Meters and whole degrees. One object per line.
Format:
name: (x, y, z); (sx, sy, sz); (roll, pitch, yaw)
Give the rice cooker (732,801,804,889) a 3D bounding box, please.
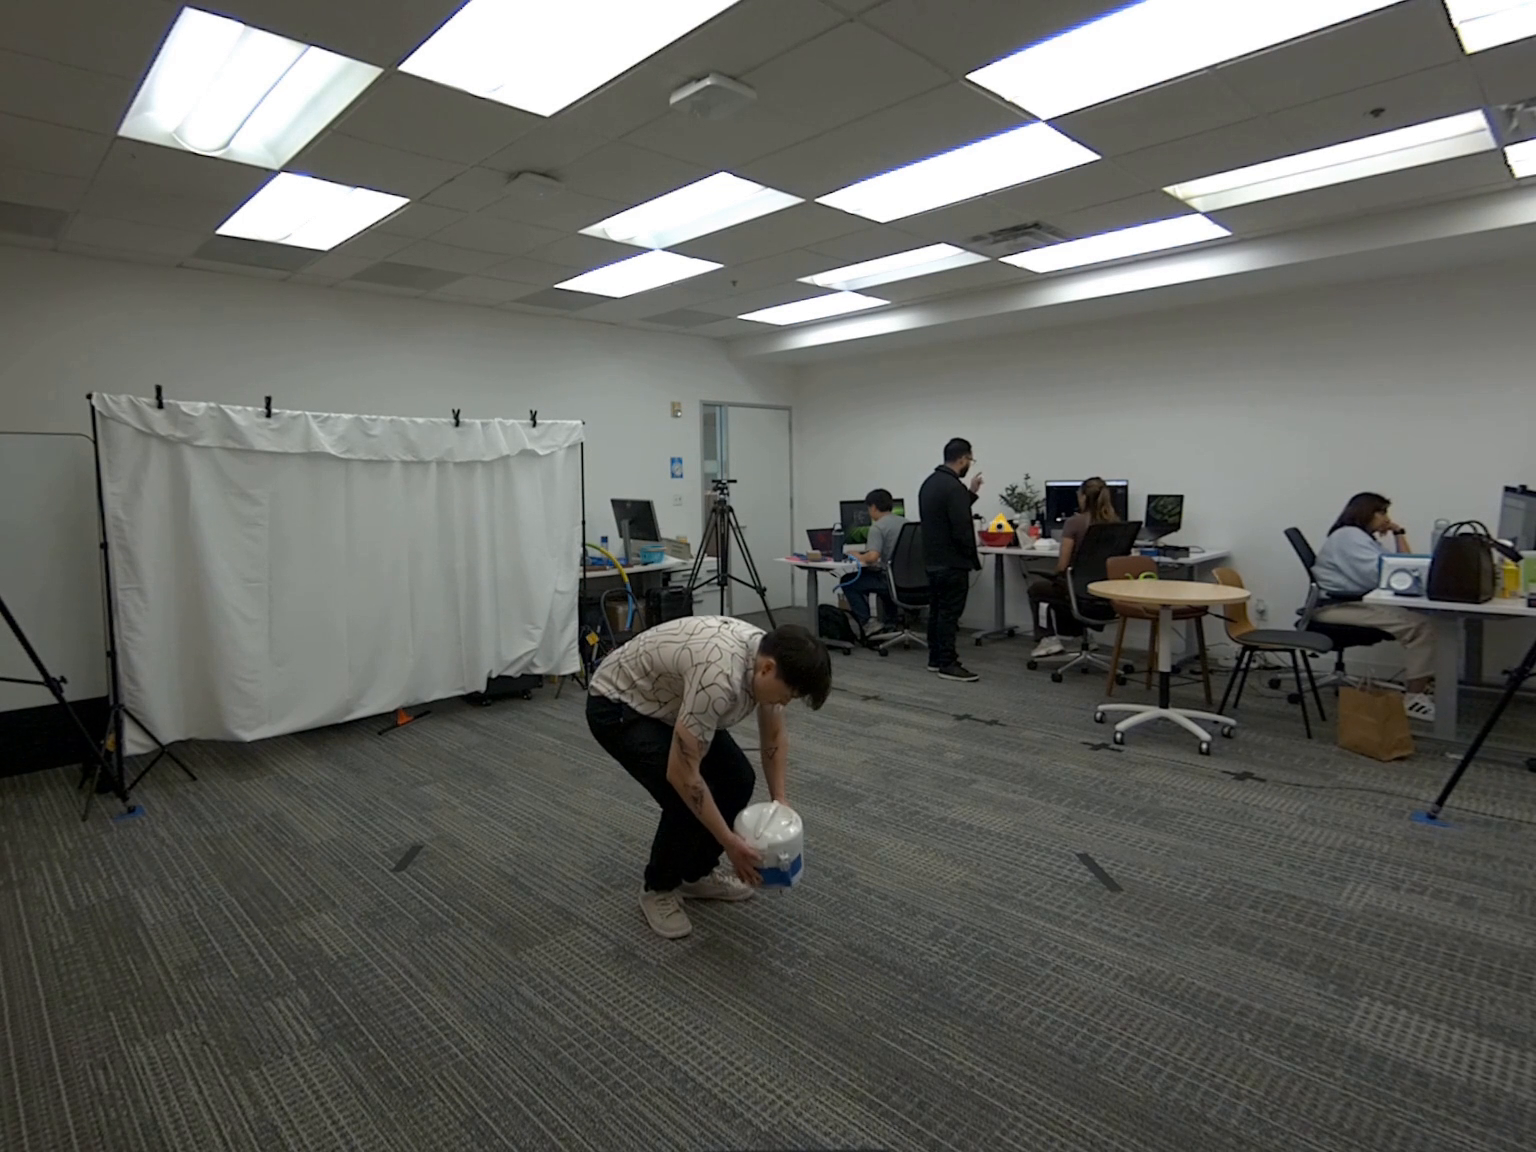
rice cooker: (-0.005, 0.805, 2.601); (0.222, 0.229, 0.219); (6, 18, 21)
